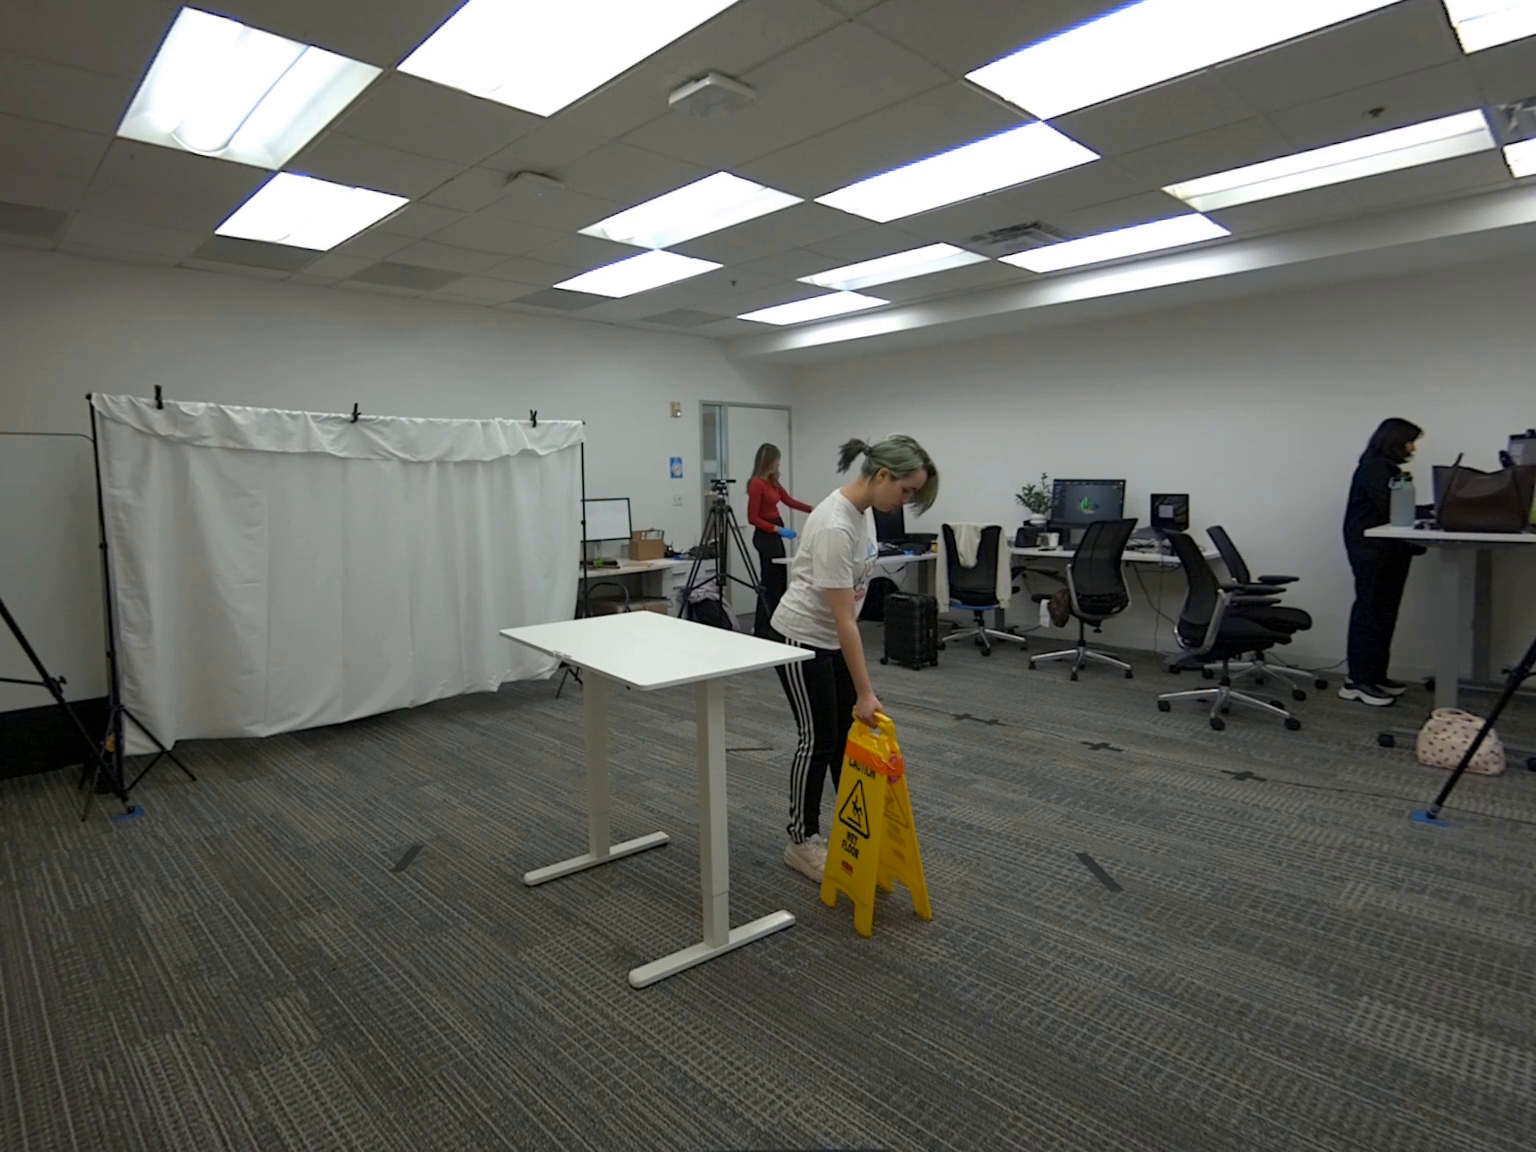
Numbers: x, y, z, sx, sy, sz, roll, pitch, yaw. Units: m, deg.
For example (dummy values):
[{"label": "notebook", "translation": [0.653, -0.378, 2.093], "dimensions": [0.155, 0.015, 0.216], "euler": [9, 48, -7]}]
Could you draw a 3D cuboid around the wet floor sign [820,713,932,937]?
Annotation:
[{"label": "wet floor sign", "translation": [0.344, 0.760, 2.740], "dimensions": [0.284, 0.643, 0.289], "euler": [-3, 5, -25]}]
